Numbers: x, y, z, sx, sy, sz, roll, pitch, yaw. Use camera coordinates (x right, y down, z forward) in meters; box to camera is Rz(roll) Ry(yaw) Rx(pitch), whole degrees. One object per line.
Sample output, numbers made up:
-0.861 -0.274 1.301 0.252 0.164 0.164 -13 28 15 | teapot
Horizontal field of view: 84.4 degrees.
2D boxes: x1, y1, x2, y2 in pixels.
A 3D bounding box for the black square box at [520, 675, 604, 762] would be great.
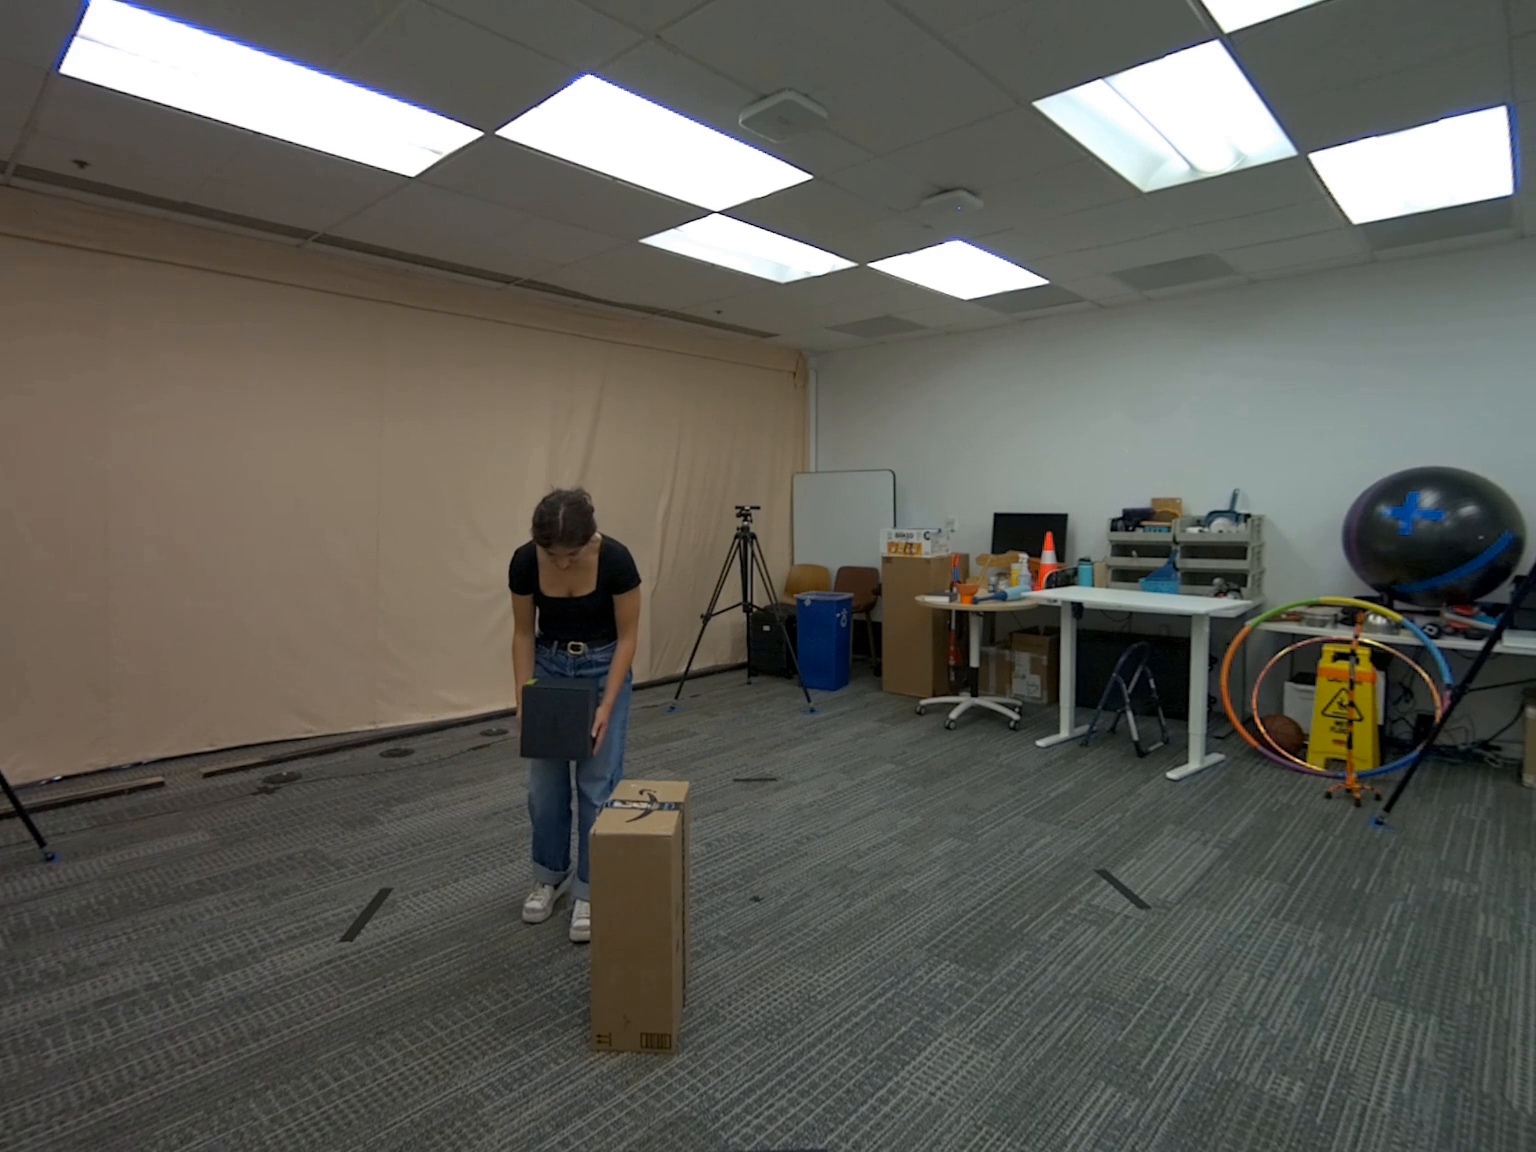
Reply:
-0.663 0.443 2.664 0.217 0.227 0.157 2 6 -2 | black square box
